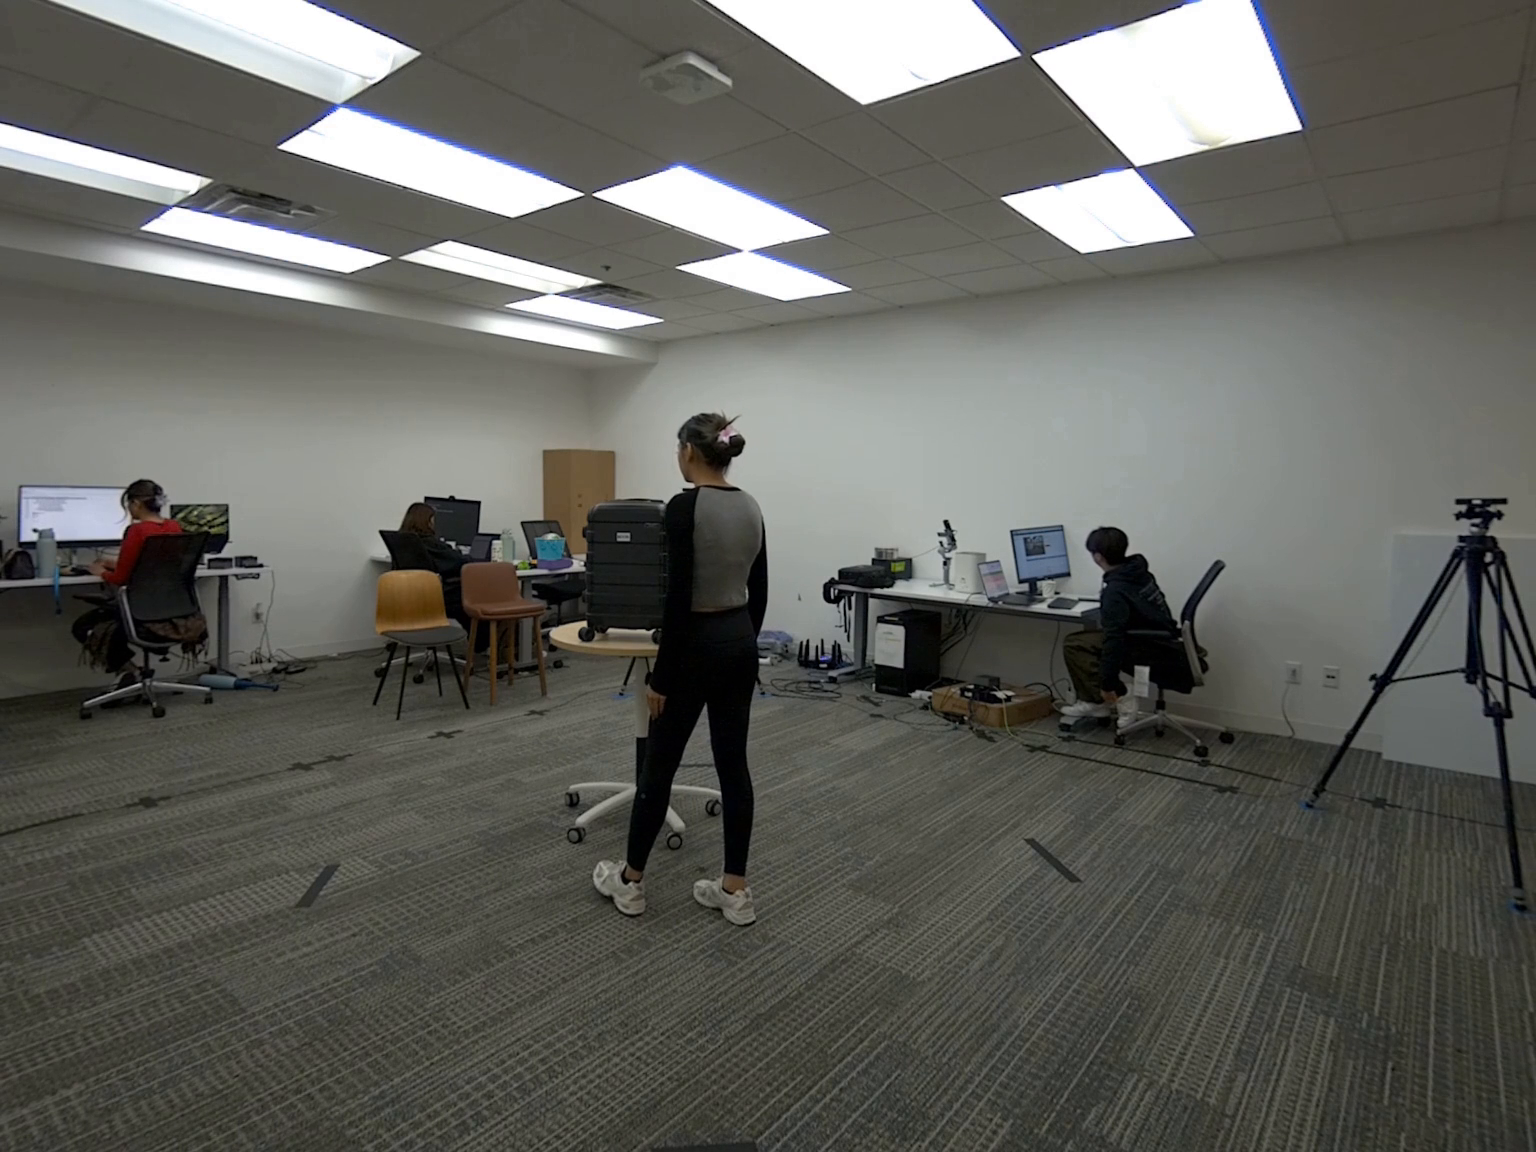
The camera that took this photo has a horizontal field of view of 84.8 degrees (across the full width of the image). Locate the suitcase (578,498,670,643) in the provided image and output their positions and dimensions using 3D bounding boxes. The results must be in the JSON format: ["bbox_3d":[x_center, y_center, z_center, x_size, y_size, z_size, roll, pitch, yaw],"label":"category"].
[{"bbox_3d":[-0.541,-0.033,3.382,0.379,0.548,0.247,2,3,7],"label":"suitcase"}]
